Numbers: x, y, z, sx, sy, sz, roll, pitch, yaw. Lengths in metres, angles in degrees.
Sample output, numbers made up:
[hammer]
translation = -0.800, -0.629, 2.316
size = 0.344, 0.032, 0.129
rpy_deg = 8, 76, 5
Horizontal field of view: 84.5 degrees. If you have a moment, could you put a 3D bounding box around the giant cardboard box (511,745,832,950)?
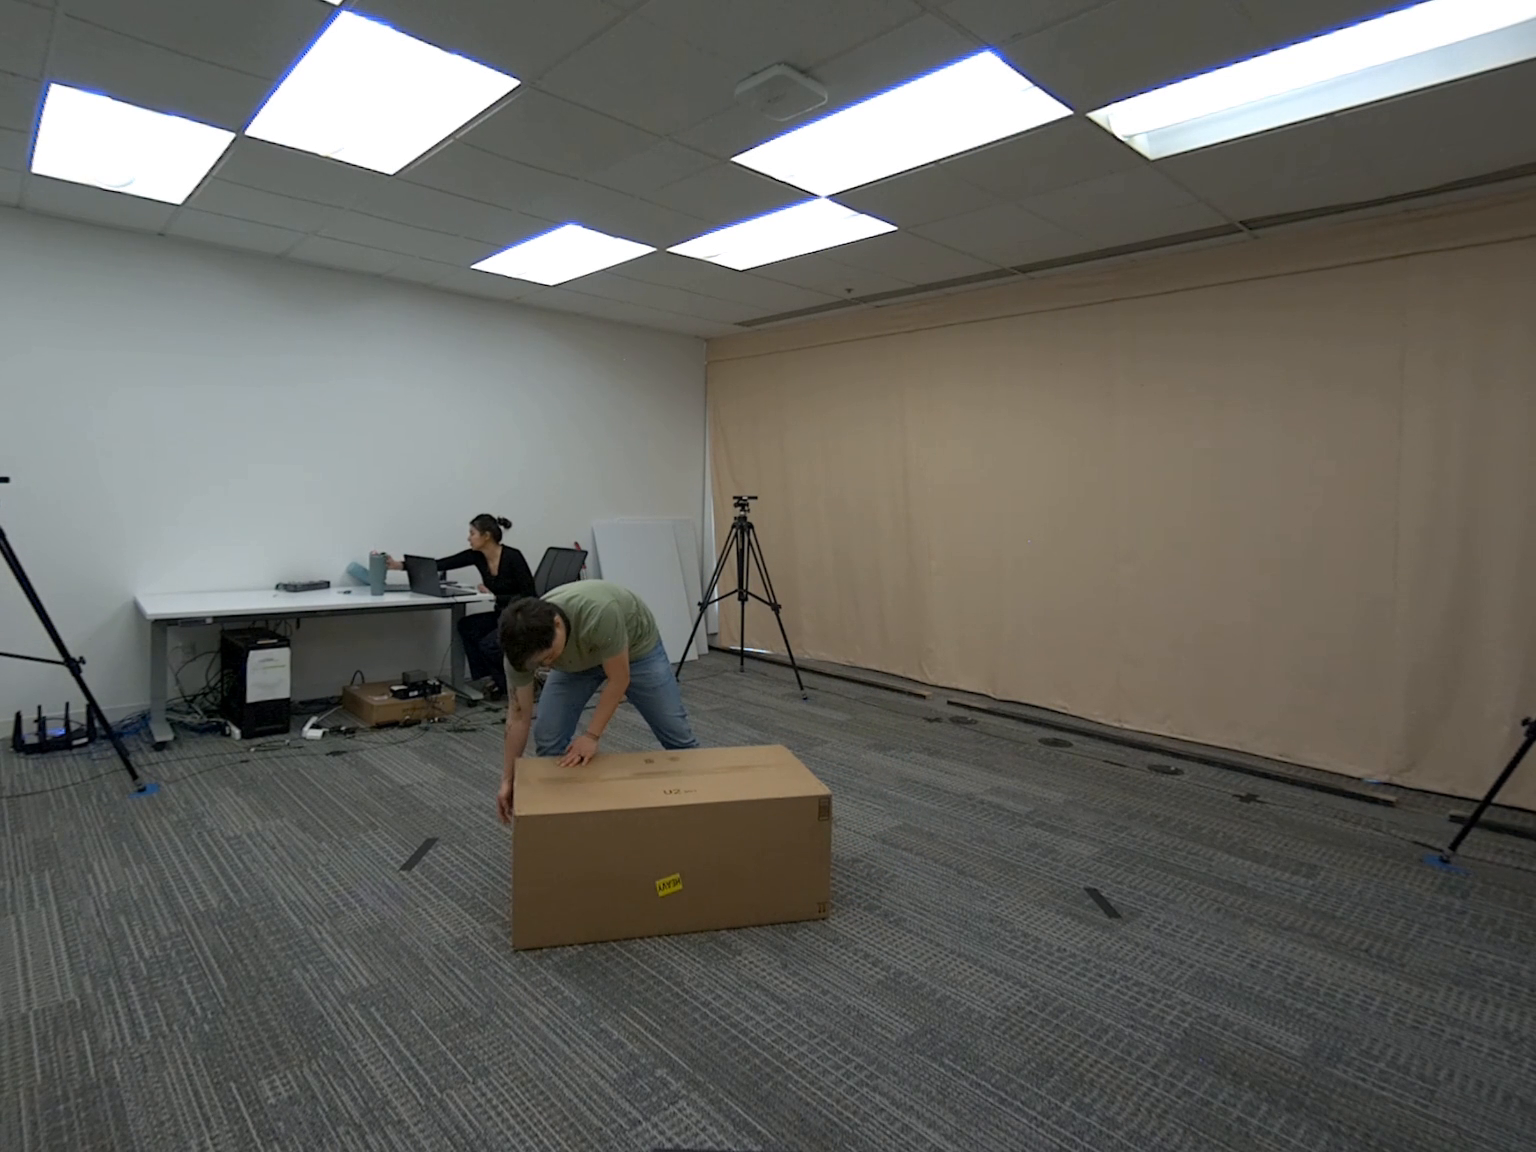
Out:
[giant cardboard box]
translation = -0.361, 0.899, 2.931
size = 1.014, 0.425, 0.586
rpy_deg = 0, 4, -15
